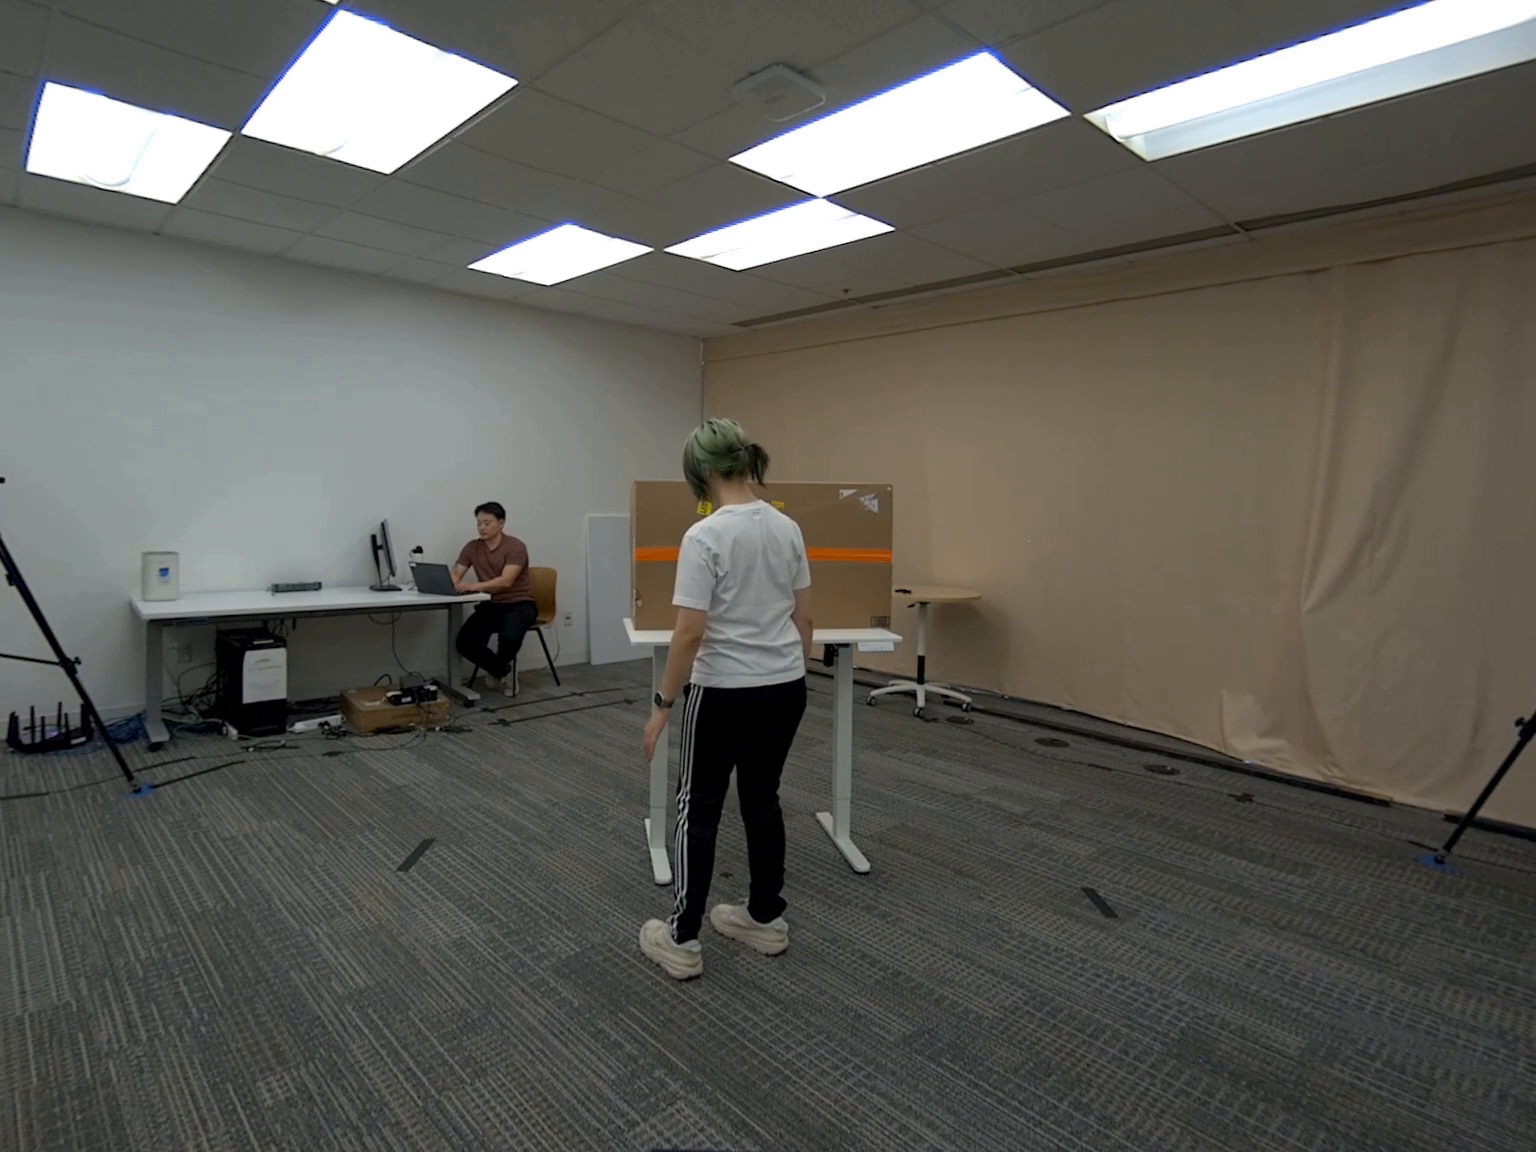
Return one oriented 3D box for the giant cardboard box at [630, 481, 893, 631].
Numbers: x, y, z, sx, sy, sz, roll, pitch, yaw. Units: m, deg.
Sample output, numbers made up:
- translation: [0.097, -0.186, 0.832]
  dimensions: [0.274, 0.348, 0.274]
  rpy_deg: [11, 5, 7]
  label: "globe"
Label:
- translation: [-0.056, -0.097, 3.465]
  dimensions: [1.018, 0.582, 0.452]
  rpy_deg: [0, 4, -10]
  label: "giant cardboard box"
